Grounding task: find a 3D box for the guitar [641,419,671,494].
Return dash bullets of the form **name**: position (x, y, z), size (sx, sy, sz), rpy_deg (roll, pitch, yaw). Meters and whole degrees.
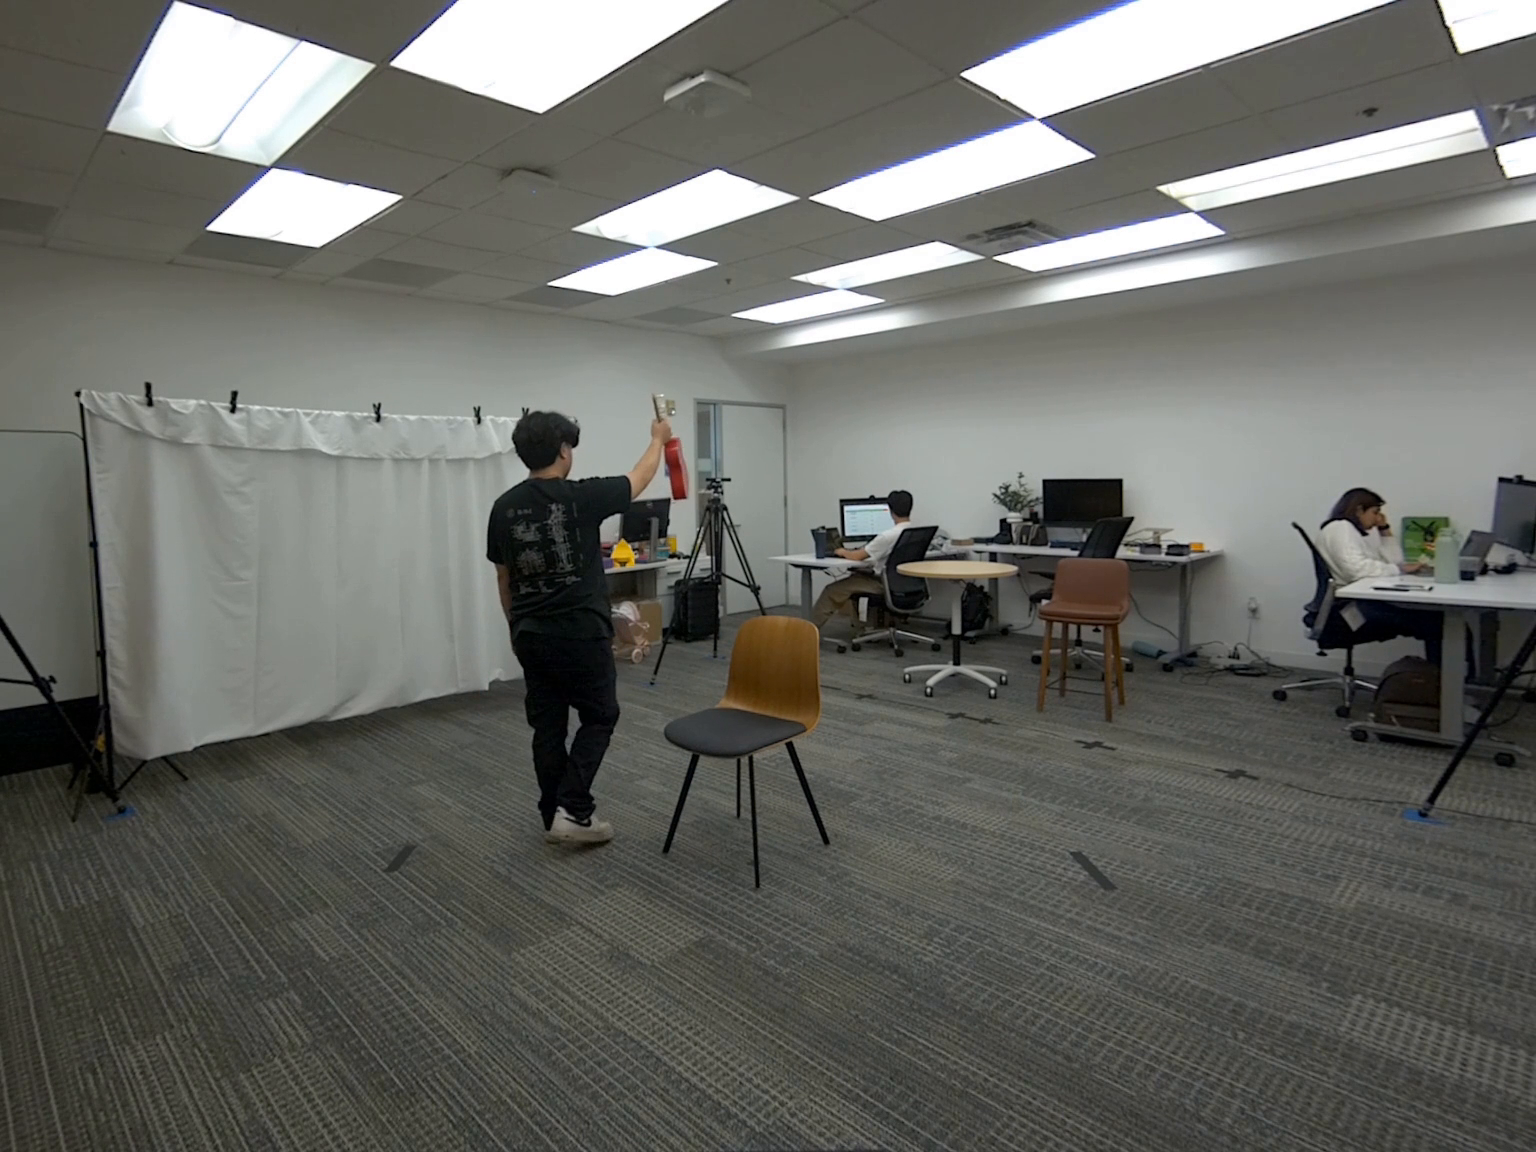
- **guitar**: position (-0.412, -0.541, 3.644), size (0.071, 0.482, 0.198), rpy_deg (-7, 43, 3)
